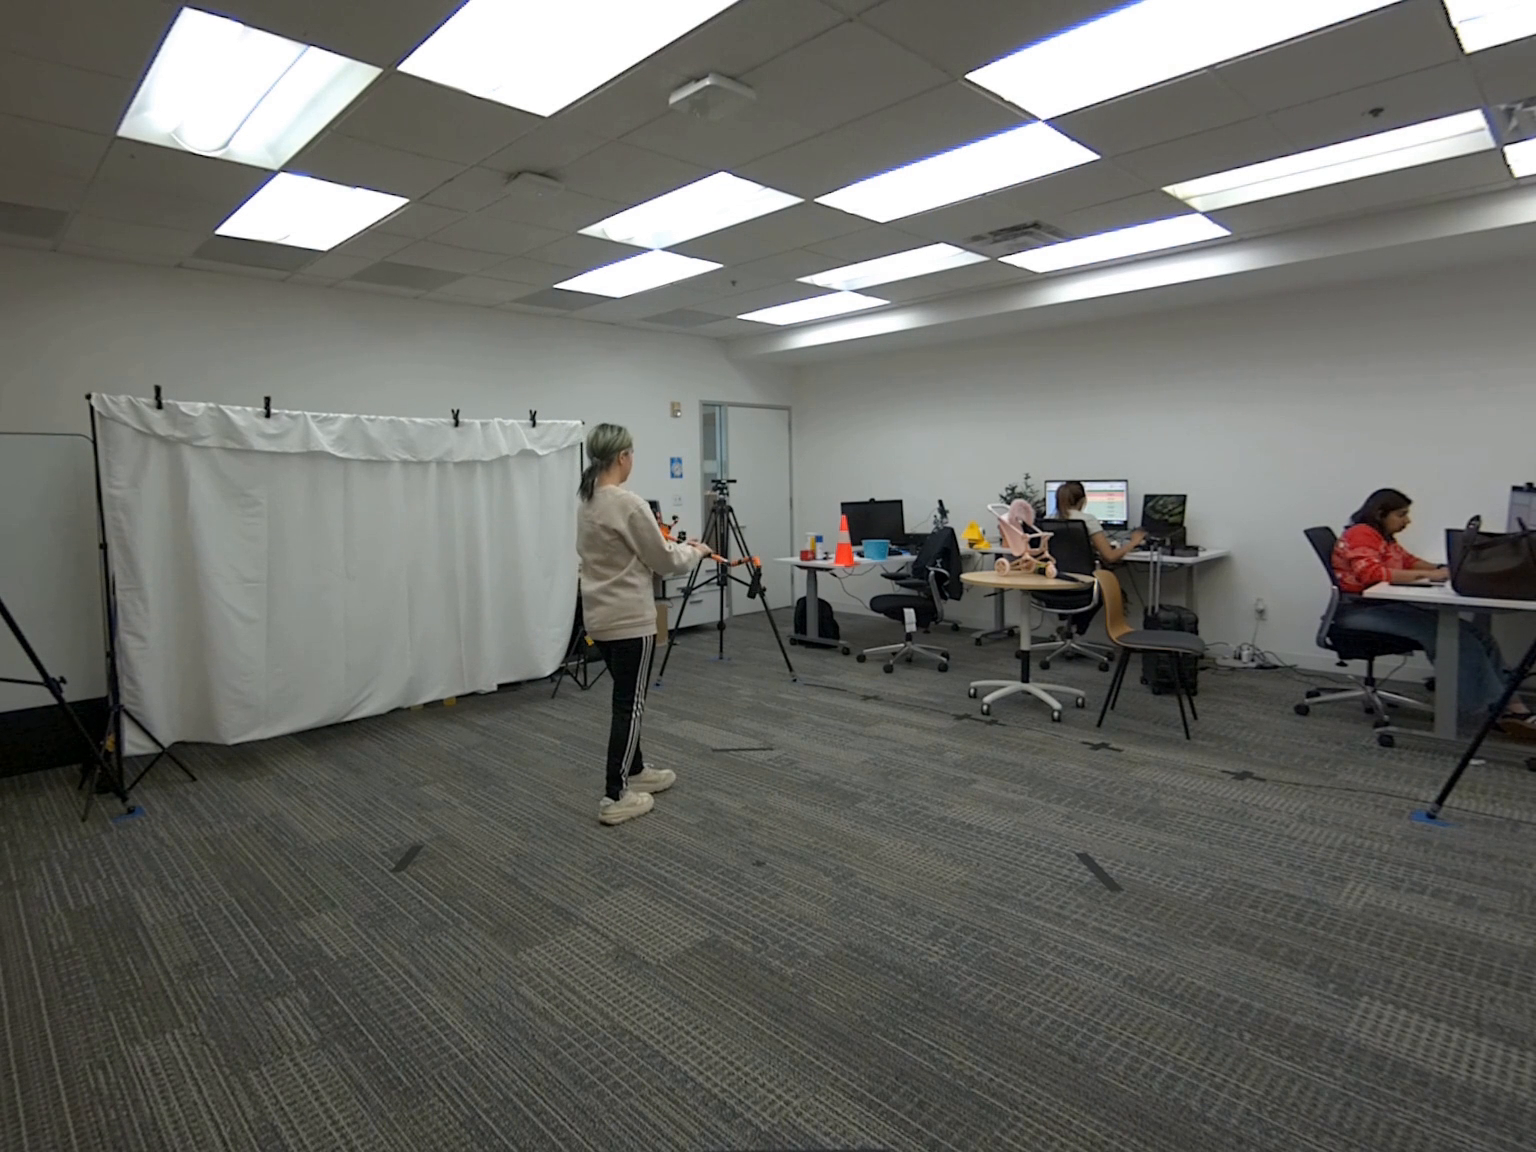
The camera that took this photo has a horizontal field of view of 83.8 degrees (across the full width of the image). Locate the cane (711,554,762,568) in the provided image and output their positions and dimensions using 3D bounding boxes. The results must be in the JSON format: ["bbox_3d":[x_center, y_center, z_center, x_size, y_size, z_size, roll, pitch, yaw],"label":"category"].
[{"bbox_3d":[-0.276,-0.108,3.818,0.147,0.206,0.940,14,6,-36],"label":"cane"}]
